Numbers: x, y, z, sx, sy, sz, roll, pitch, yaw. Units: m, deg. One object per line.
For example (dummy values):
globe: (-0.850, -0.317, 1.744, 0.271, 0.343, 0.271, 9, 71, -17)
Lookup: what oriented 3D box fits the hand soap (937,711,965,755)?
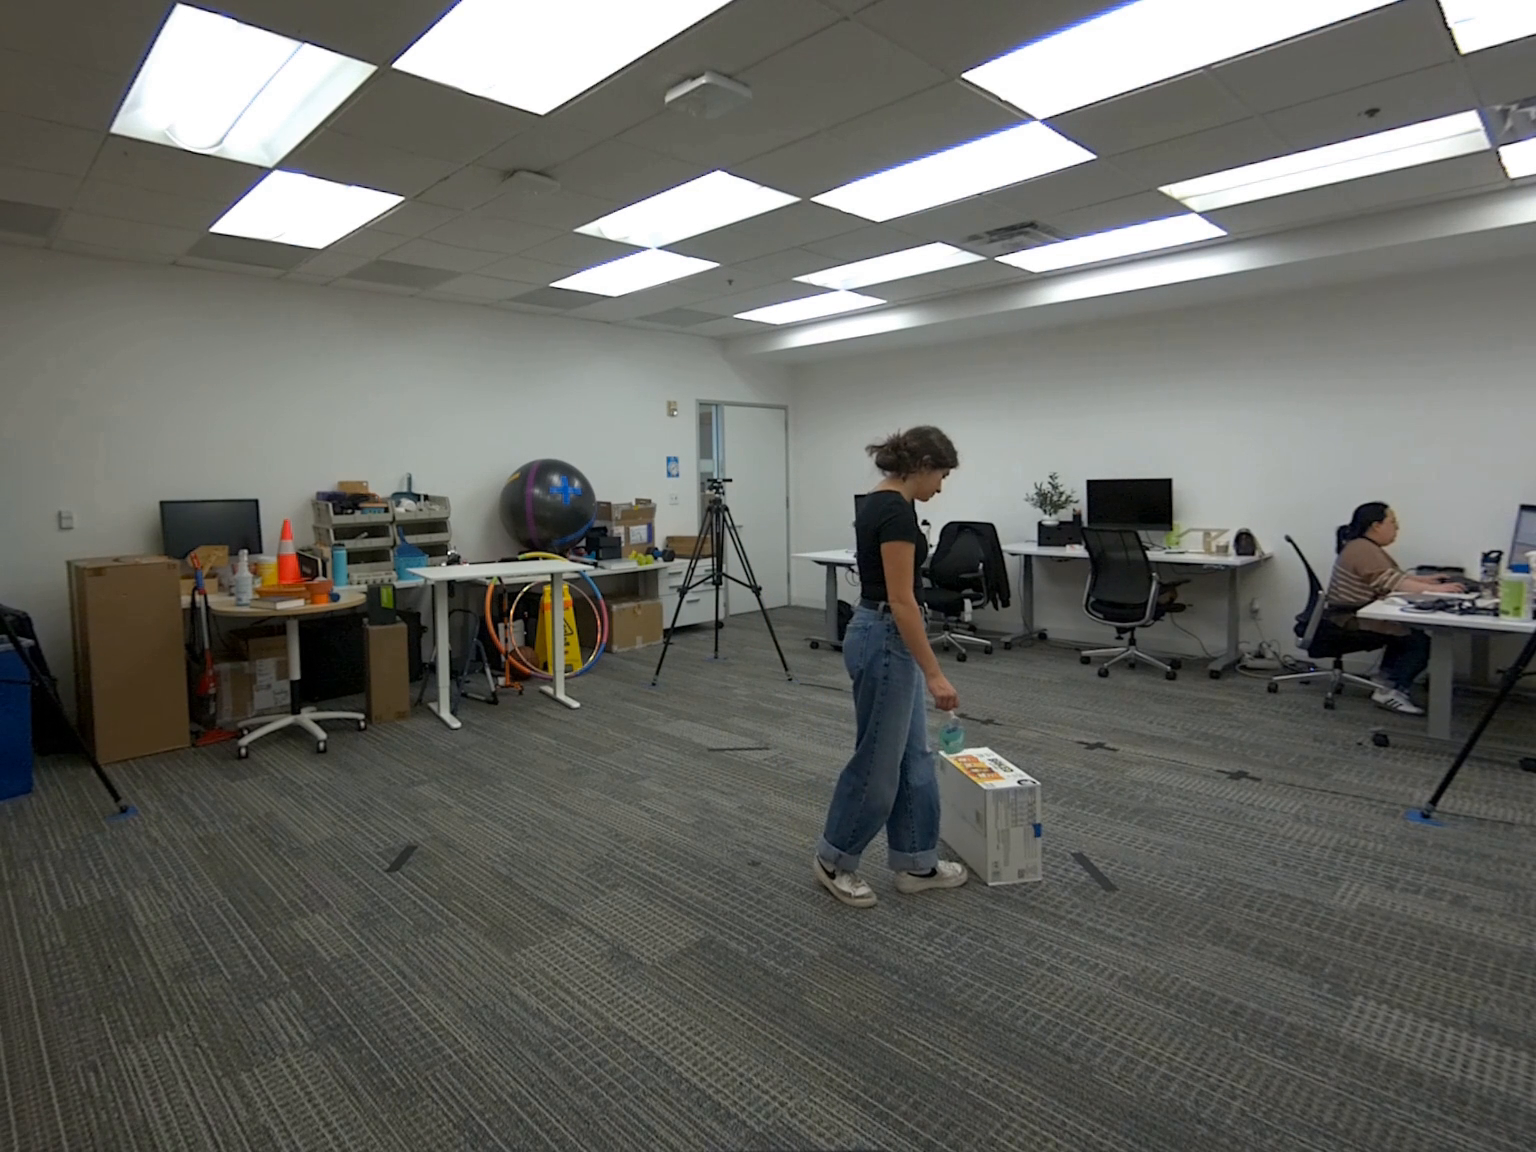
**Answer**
hand soap: (0.544, 0.460, 2.609, 0.084, 0.166, 0.044, -7, 10, -6)
